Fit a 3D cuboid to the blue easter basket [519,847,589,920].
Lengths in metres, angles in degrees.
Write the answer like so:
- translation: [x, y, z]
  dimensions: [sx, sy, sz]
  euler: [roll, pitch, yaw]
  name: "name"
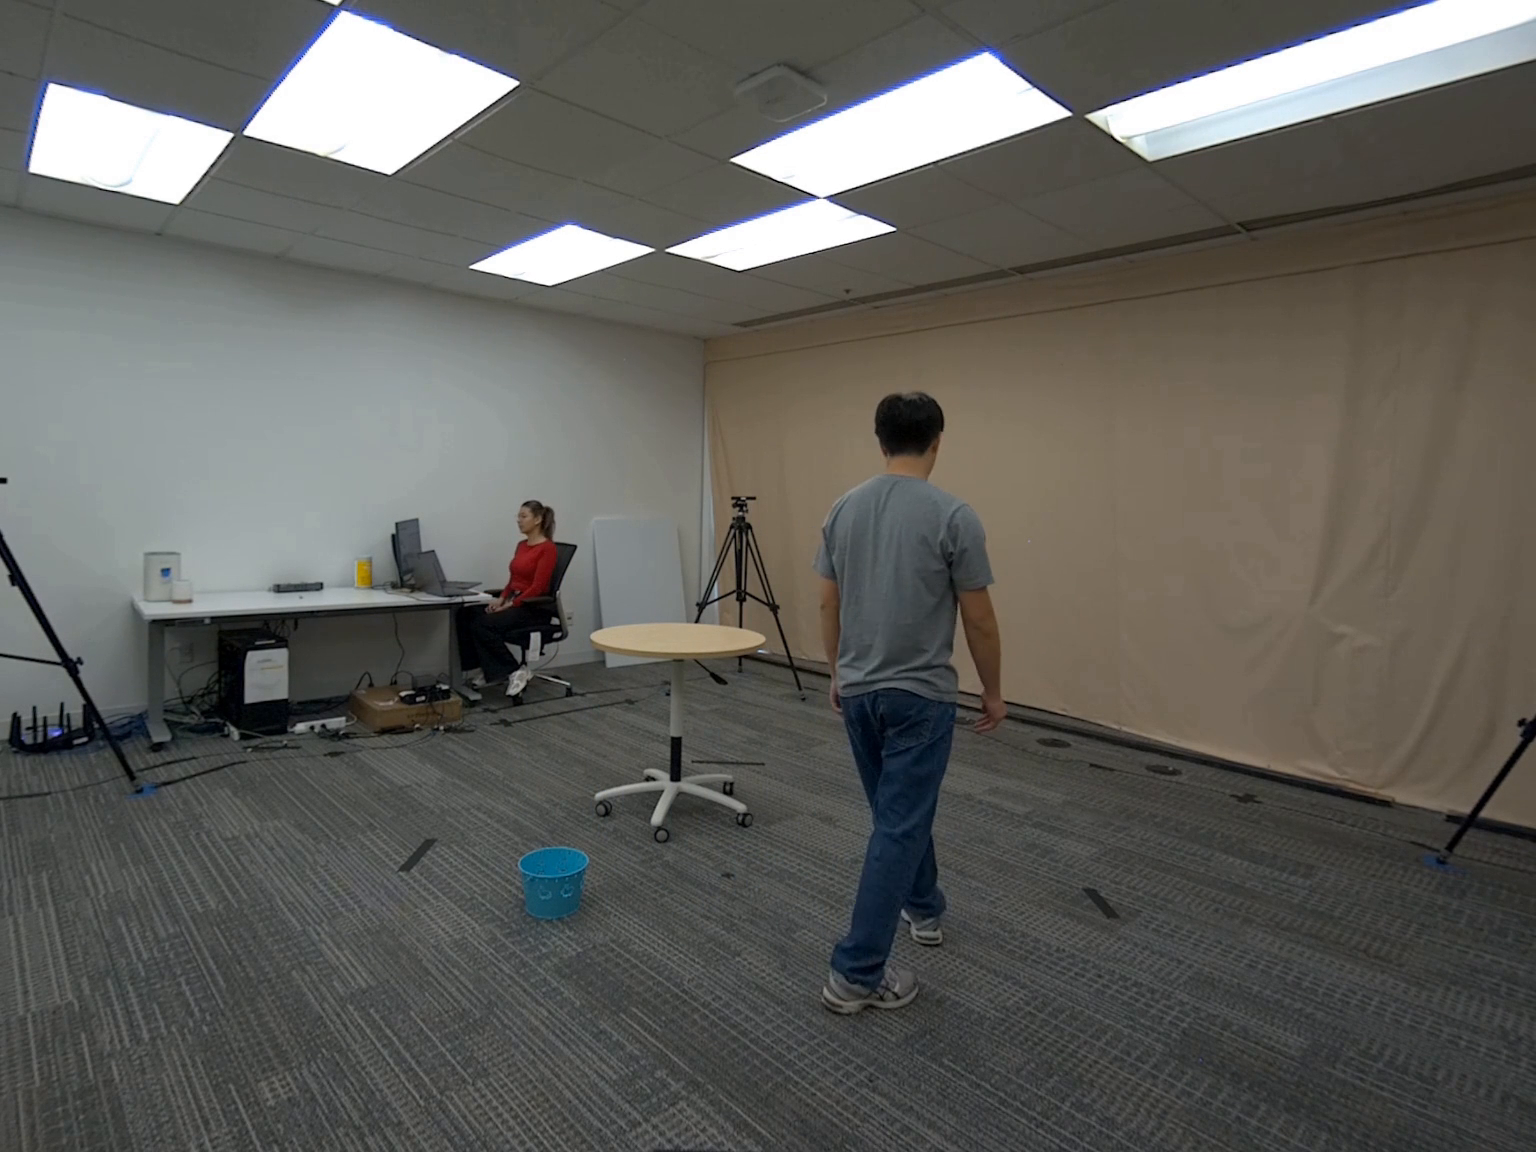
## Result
- translation: [-0.735, 1.038, 2.849]
  dimensions: [0.243, 0.155, 0.245]
  euler: [2, 6, -2]
  name: "blue easter basket"
